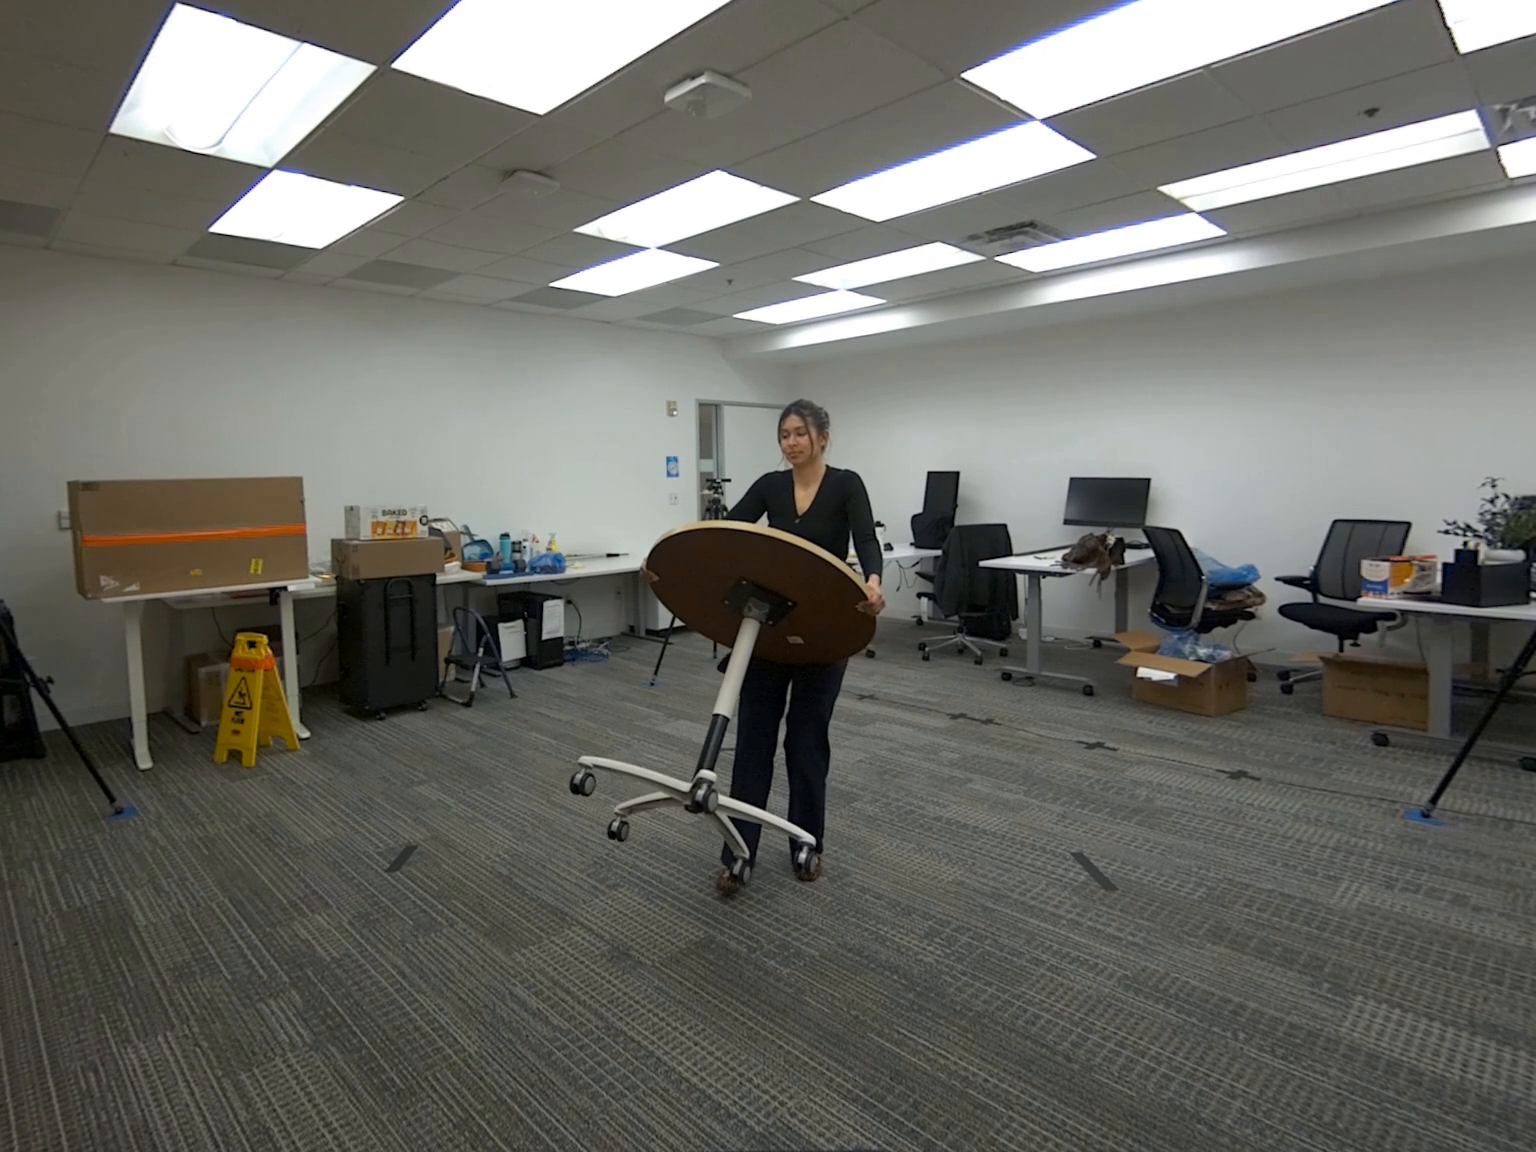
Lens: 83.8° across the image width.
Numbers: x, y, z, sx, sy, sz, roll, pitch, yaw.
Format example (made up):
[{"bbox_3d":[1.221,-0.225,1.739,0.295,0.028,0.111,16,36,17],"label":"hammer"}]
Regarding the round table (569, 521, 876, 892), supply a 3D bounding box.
[{"bbox_3d":[-0.124,0.393,2.536,0.771,0.806,0.745,13,-32,7],"label":"round table"}]
